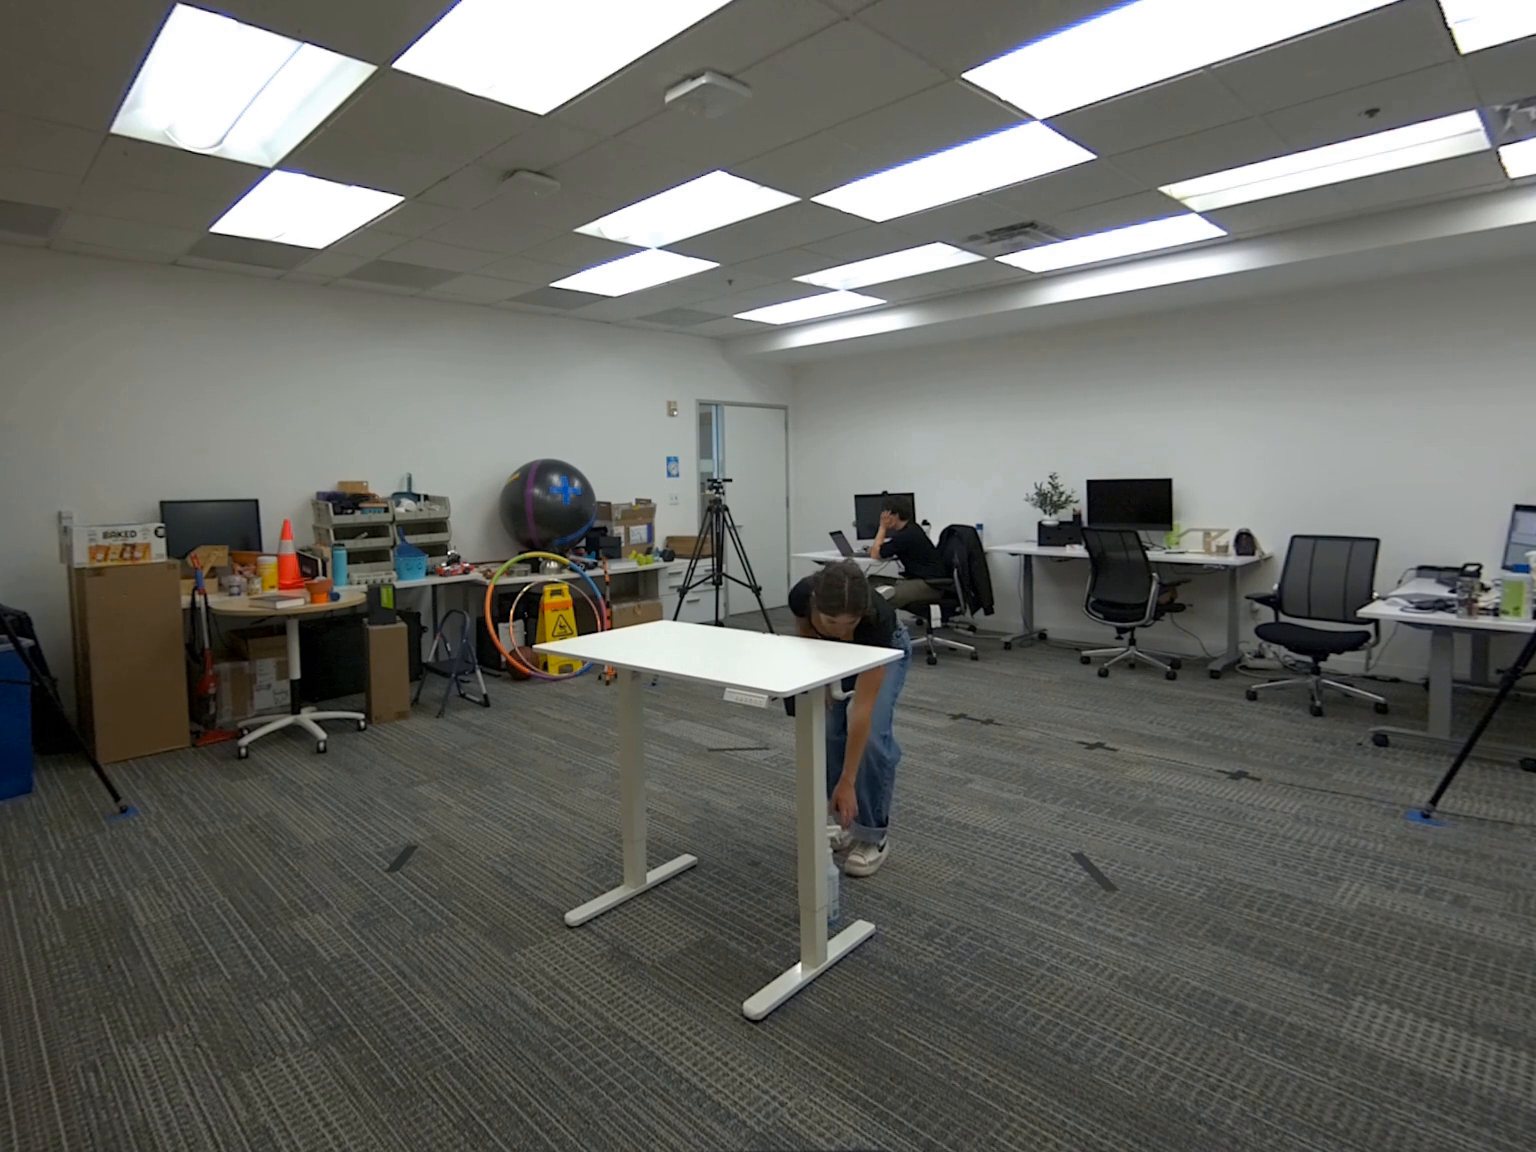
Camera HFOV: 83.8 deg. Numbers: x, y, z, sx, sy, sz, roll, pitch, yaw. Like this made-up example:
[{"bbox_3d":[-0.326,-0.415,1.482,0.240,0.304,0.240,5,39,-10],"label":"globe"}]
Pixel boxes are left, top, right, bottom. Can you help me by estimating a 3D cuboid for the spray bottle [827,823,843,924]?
[{"bbox_3d":[0.196,0.951,2.695,0.092,0.297,0.085,3,2,23],"label":"spray bottle"}]
